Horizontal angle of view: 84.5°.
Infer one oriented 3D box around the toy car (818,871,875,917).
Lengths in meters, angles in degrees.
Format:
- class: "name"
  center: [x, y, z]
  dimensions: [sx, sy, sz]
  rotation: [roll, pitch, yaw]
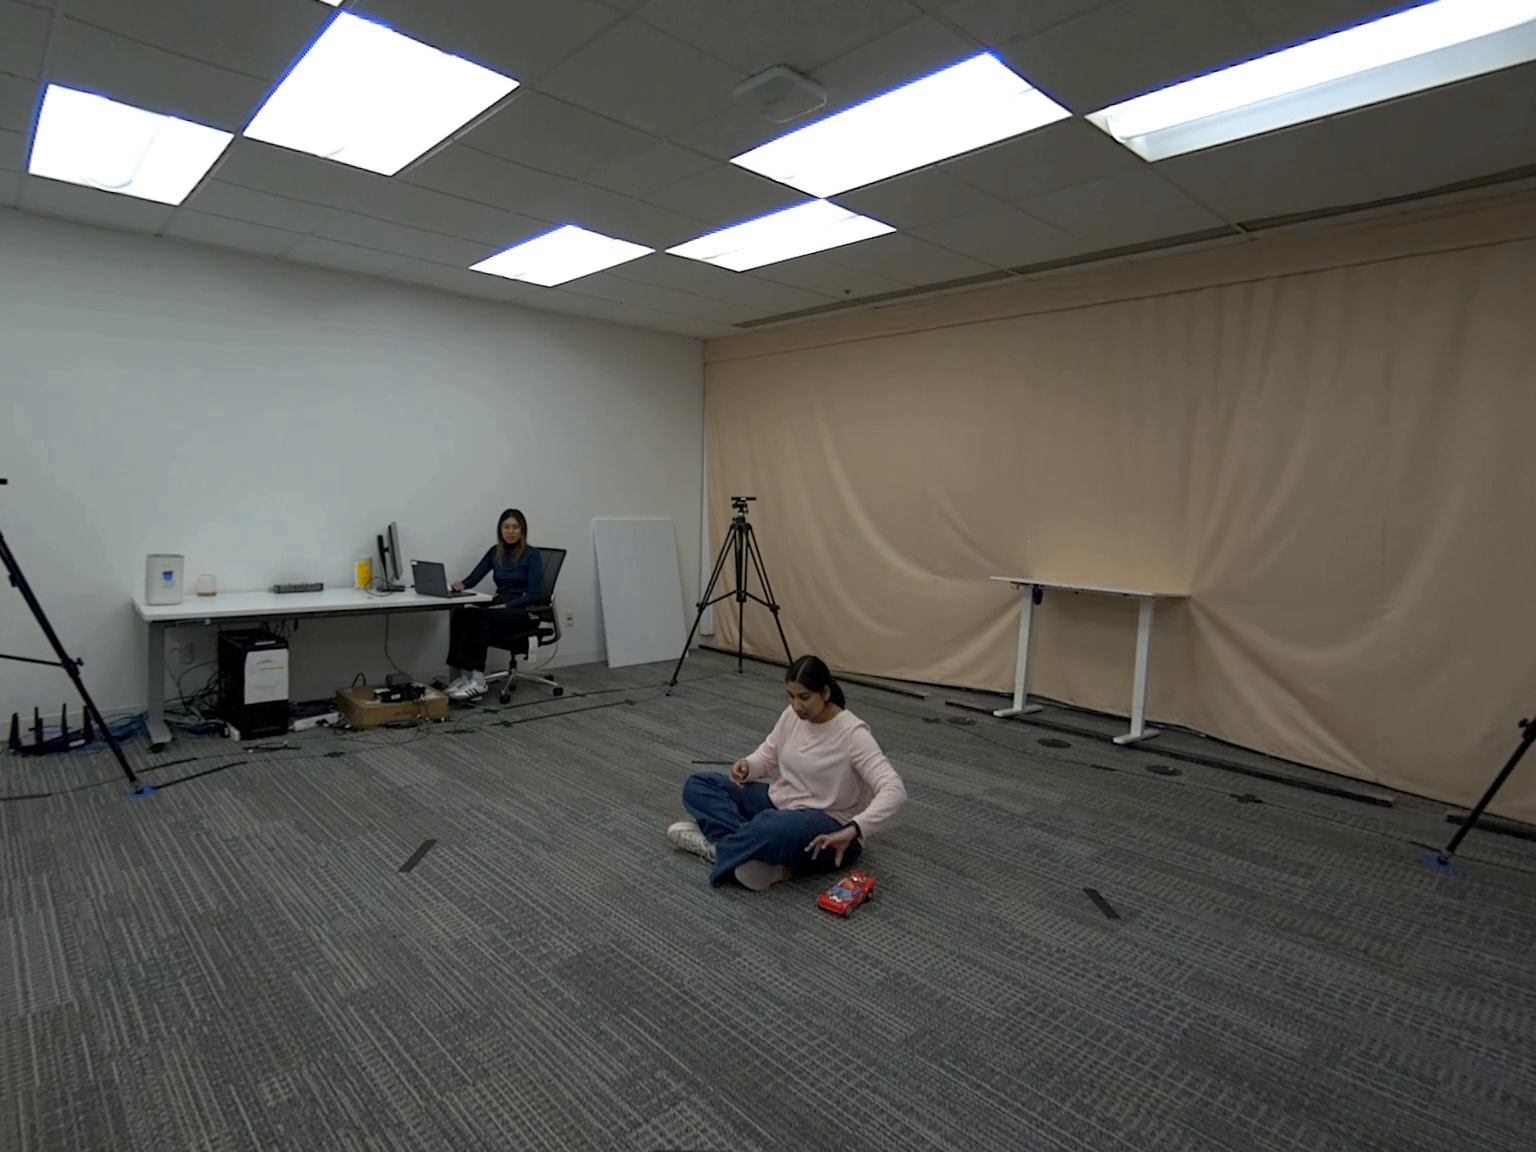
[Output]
- class: "toy car"
  center: [0.278, 1.109, 2.910]
  dimensions: [0.133, 0.082, 0.251]
  rotation: [4, 16, 37]
